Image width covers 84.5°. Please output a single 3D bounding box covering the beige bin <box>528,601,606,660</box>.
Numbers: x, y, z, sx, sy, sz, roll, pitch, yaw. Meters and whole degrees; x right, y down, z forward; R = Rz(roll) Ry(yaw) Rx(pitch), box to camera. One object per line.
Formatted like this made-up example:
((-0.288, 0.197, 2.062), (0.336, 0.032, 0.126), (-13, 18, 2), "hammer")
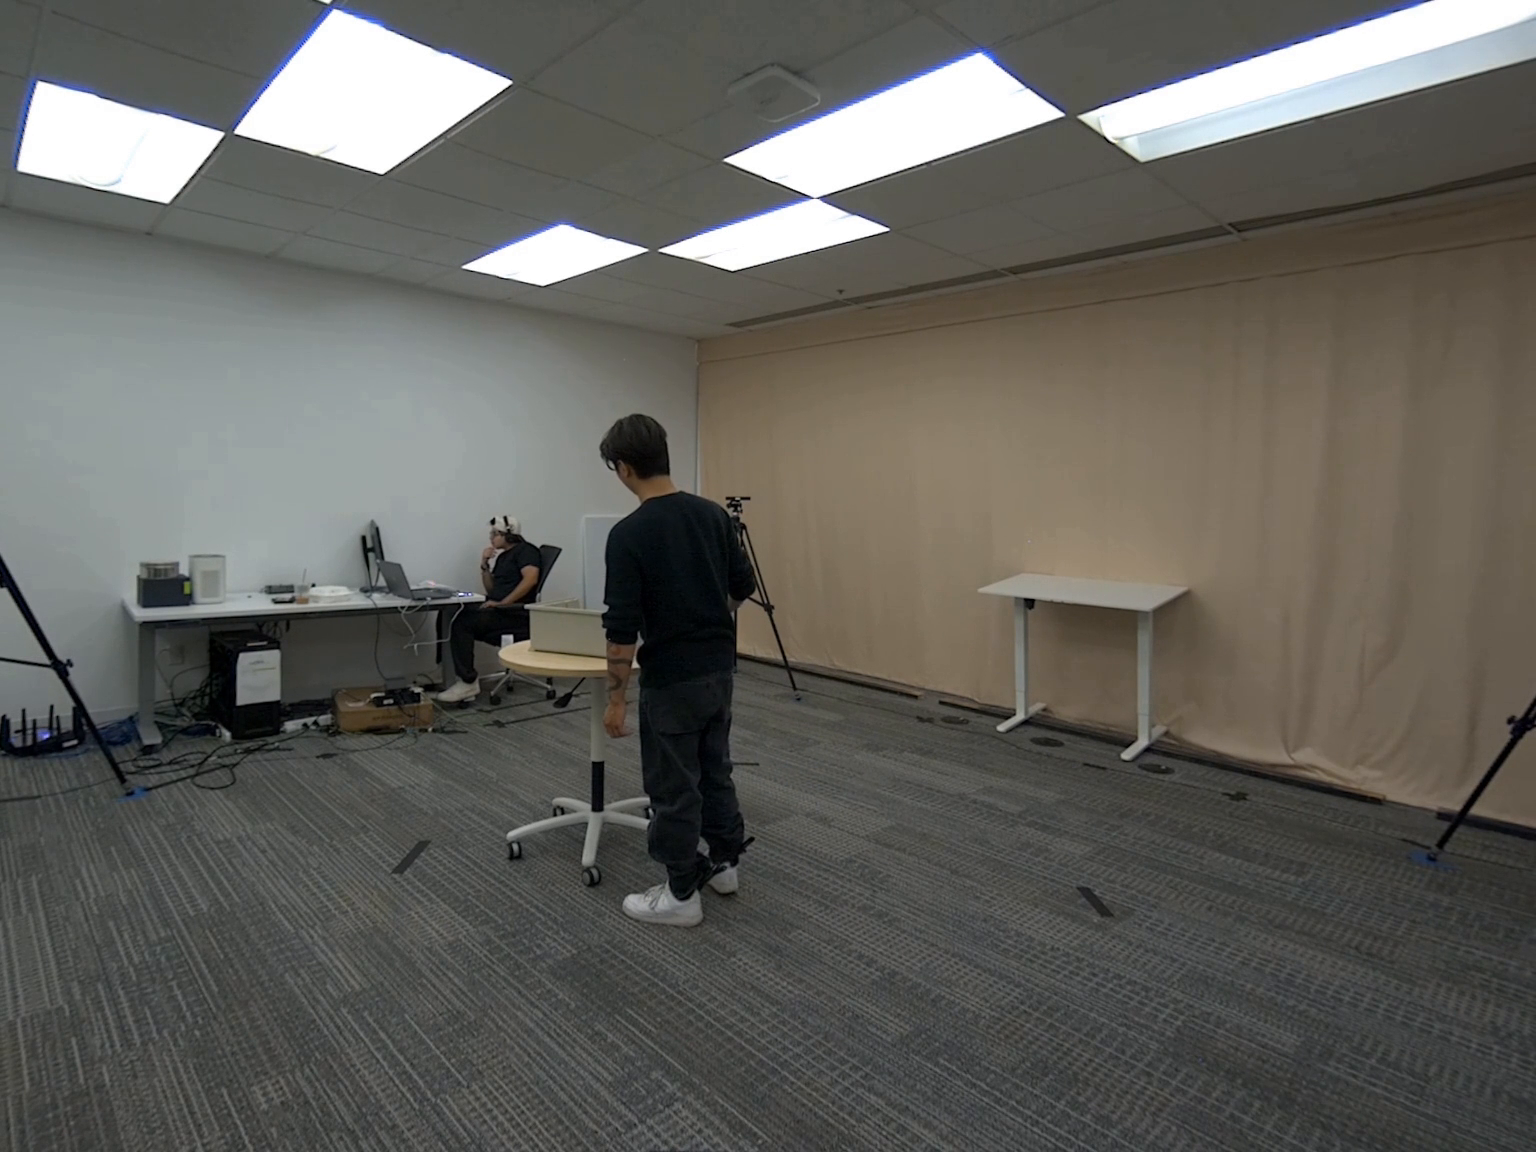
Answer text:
((-0.706, 0.203, 3.359), (0.428, 0.188, 0.373), (4, 6, 17), "beige bin")
